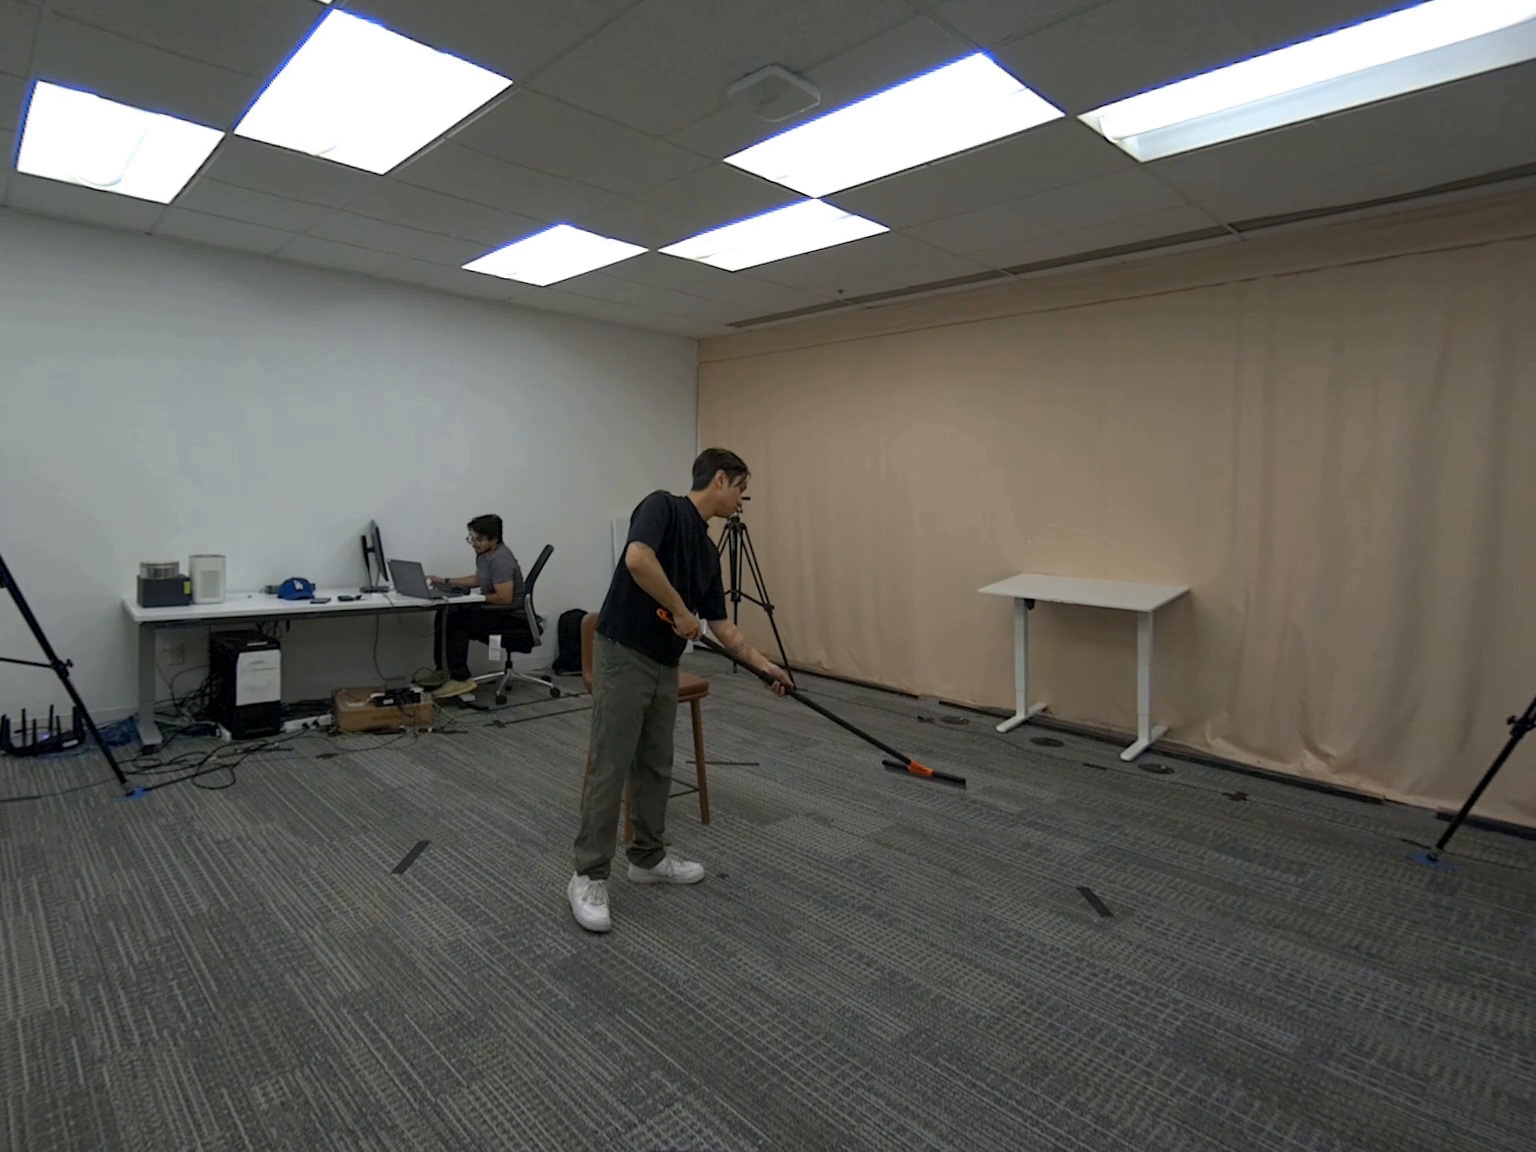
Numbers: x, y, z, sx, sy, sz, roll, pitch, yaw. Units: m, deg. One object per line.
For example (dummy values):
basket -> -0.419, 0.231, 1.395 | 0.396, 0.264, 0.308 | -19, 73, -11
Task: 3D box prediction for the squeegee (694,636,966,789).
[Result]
squeegee -> 0.143, 0.468, 3.191 | 1.494, 0.053, 0.447 | 35, -20, -32
